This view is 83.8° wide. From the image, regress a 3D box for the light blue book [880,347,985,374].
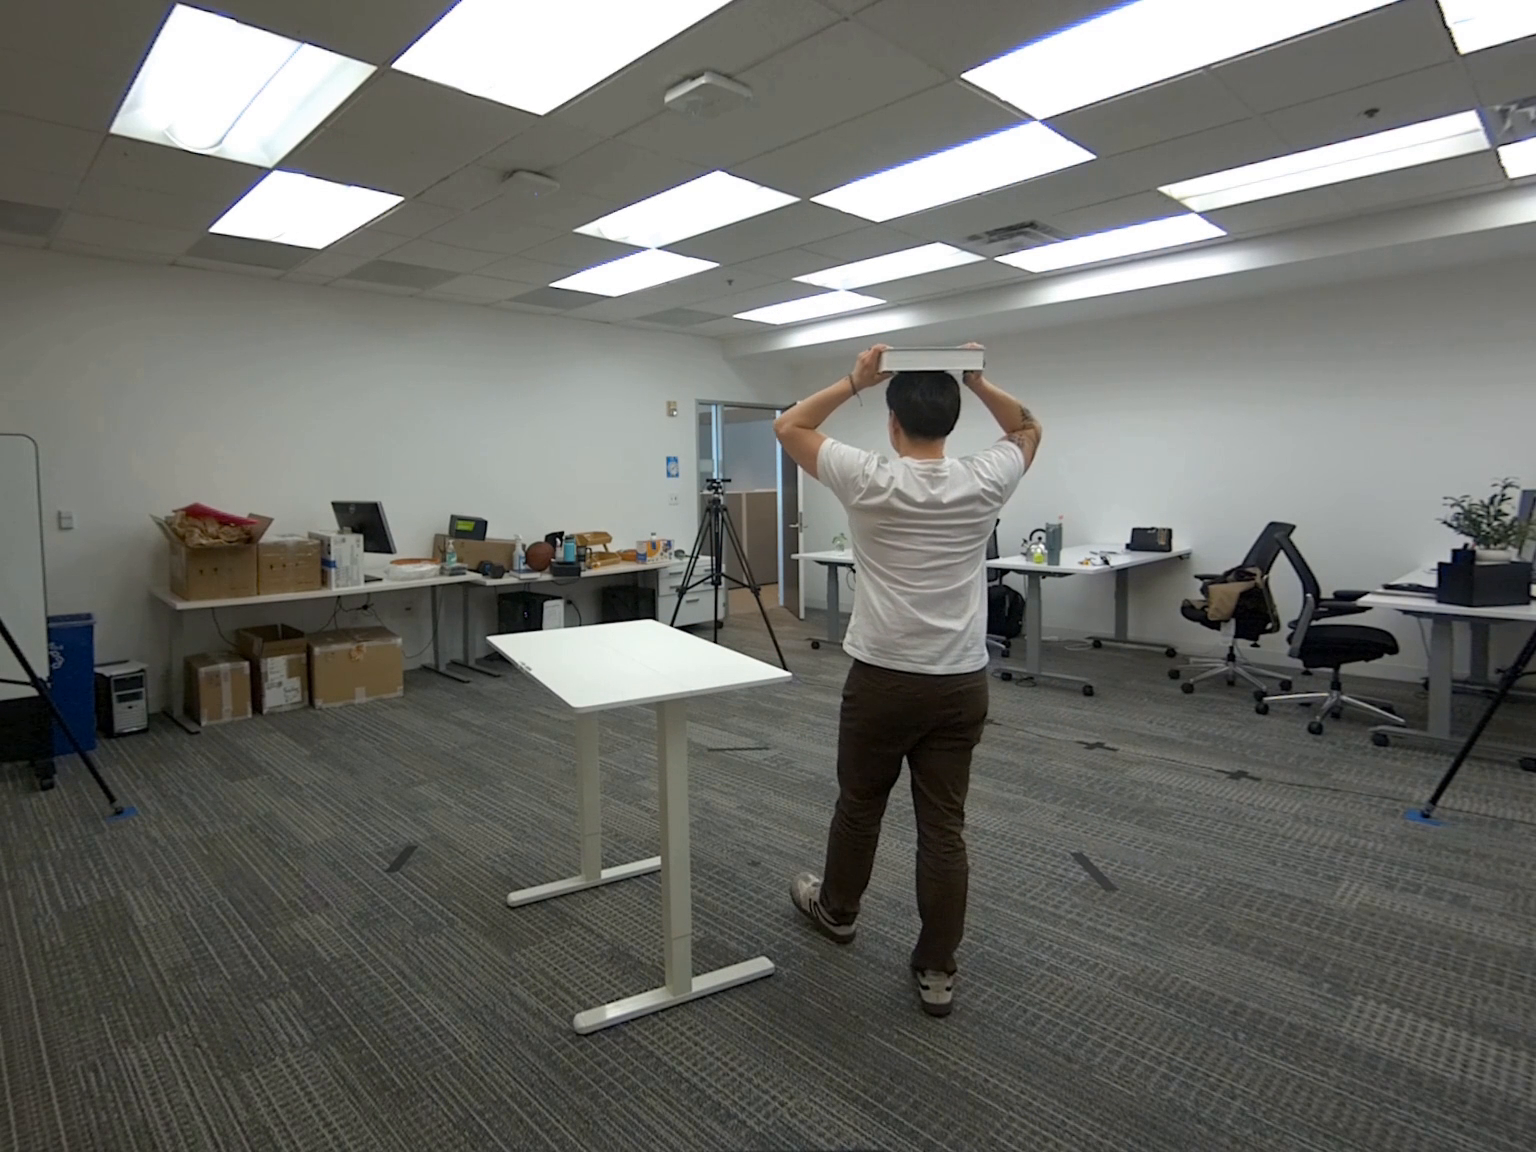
[{"bbox_3d":[0.427,-0.577,2.272,0.259,0.058,0.194,-1,11,-6],"label":"light blue book"}]
